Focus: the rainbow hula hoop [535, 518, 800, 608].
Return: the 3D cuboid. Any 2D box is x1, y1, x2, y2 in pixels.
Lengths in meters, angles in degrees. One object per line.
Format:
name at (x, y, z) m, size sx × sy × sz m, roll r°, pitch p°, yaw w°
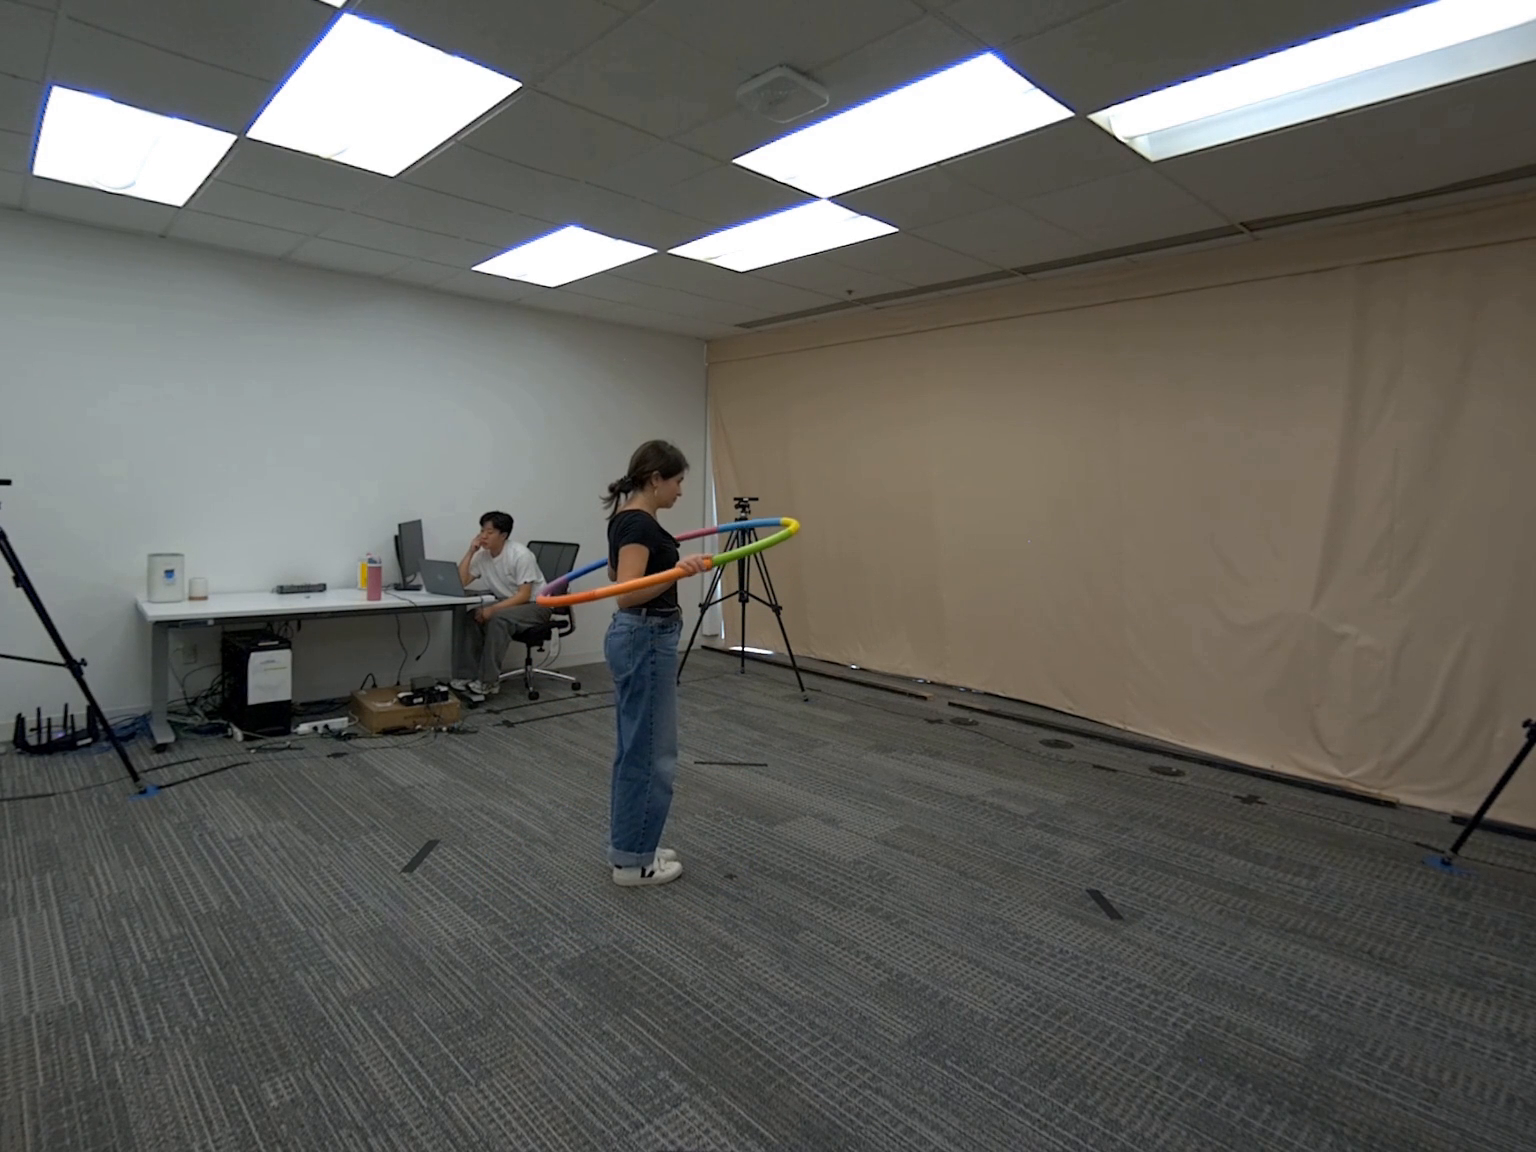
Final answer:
rainbow hula hoop at (-0.364, -0.057, 3.049) m, size 0.979 × 0.035 × 0.986 m, roll -15°, pitch 11°, yaw 1°
